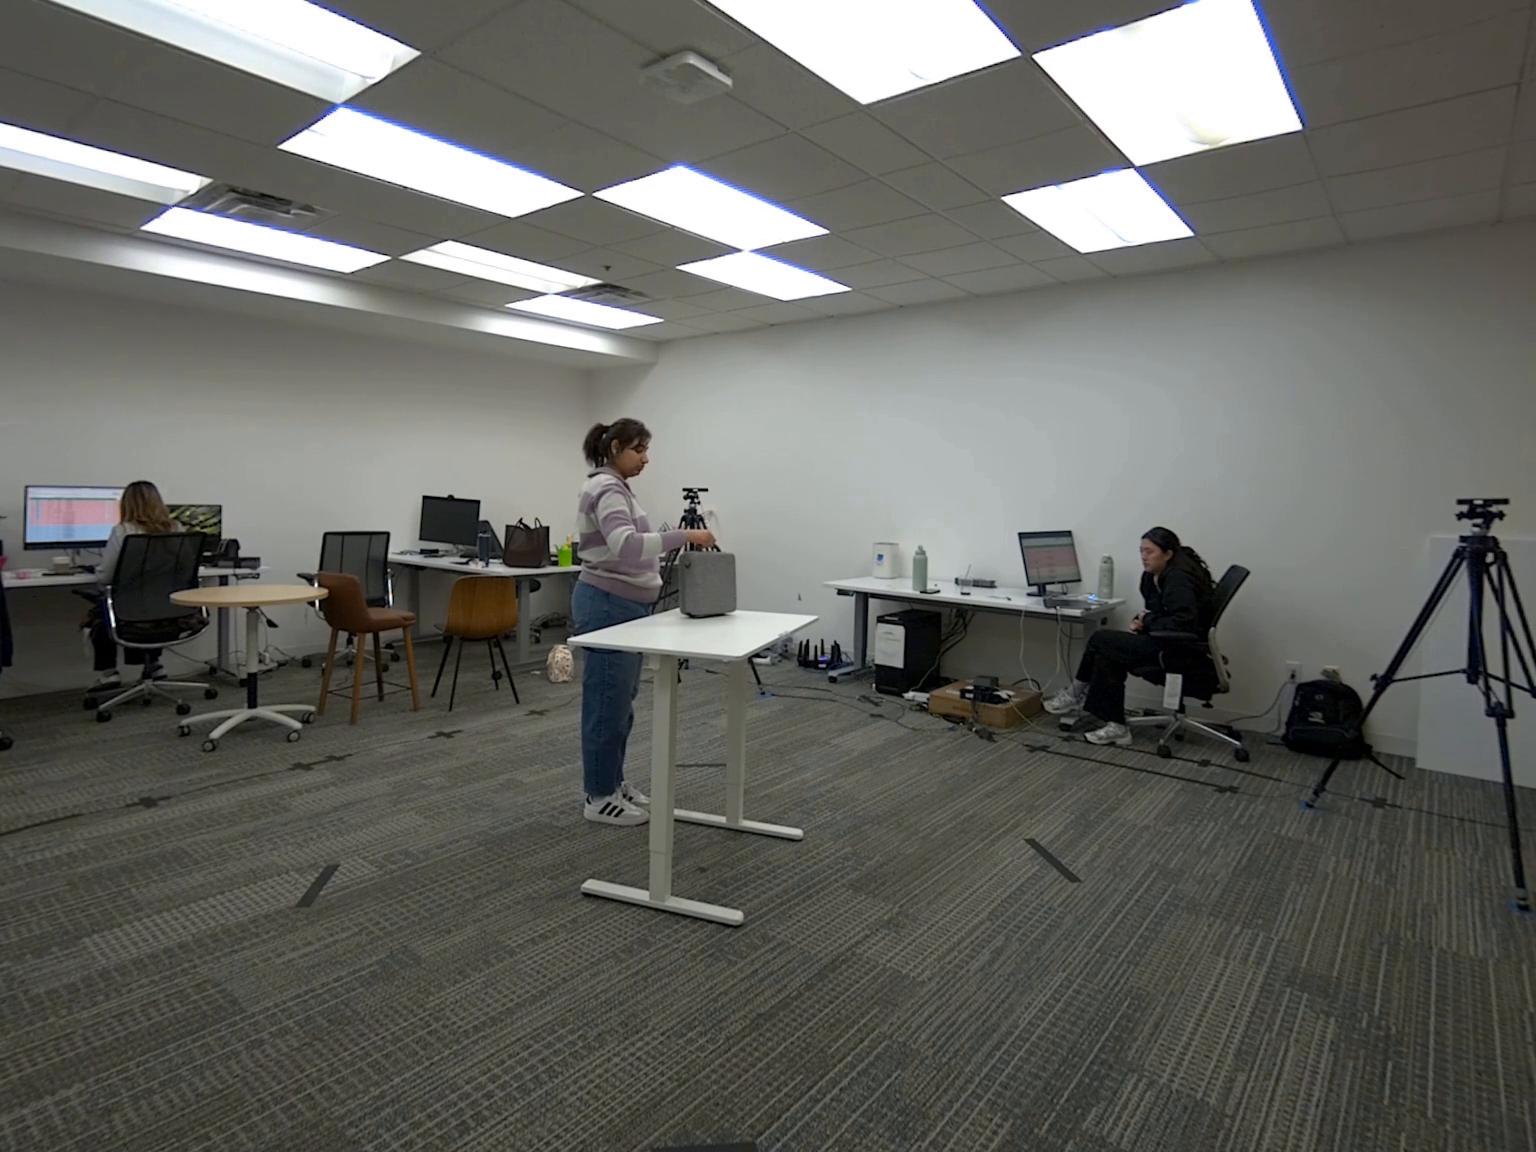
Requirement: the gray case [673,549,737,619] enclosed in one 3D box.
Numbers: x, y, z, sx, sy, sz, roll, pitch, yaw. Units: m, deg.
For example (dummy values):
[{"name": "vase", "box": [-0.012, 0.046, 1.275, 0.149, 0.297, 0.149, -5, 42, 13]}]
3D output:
[{"name": "gray case", "box": [-0.249, 0.022, 3.416, 0.107, 0.261, 0.249, -4, -2, 43]}]
